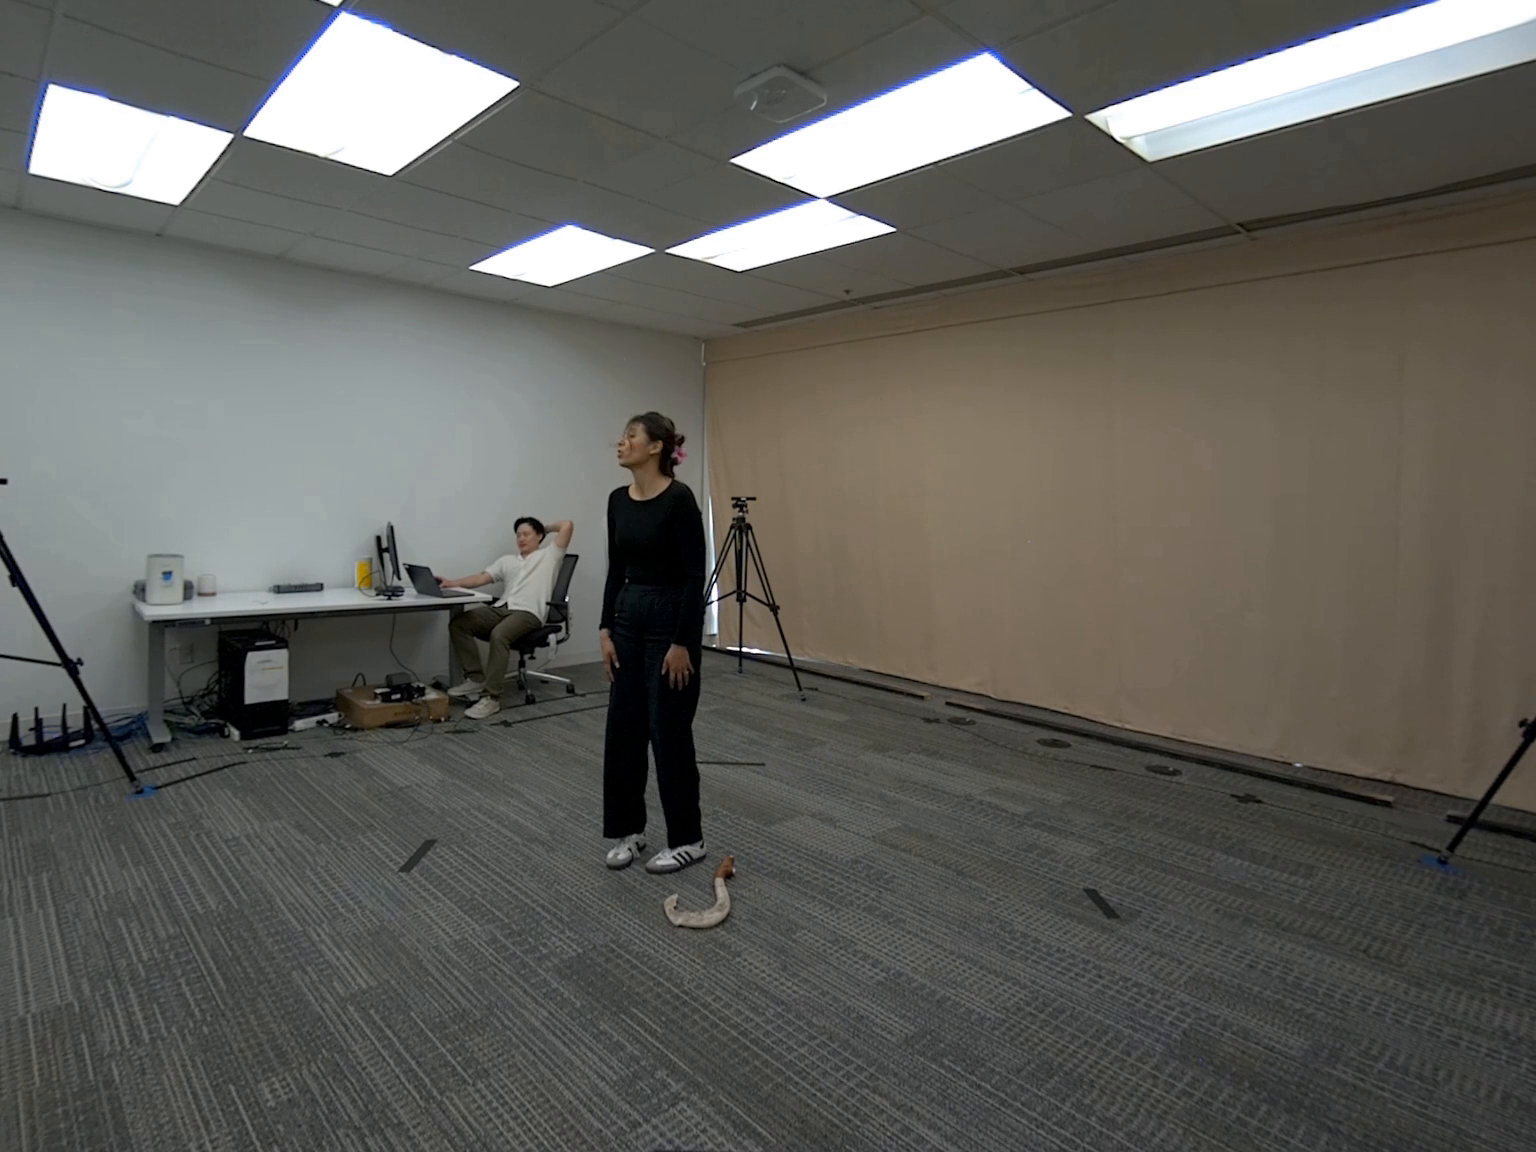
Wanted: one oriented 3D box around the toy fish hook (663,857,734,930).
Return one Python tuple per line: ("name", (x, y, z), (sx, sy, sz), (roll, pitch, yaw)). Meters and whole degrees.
("toy fish hook", (-0.230, 1.096, 2.953), (0.226, 0.048, 0.505), (3, 5, 6))
